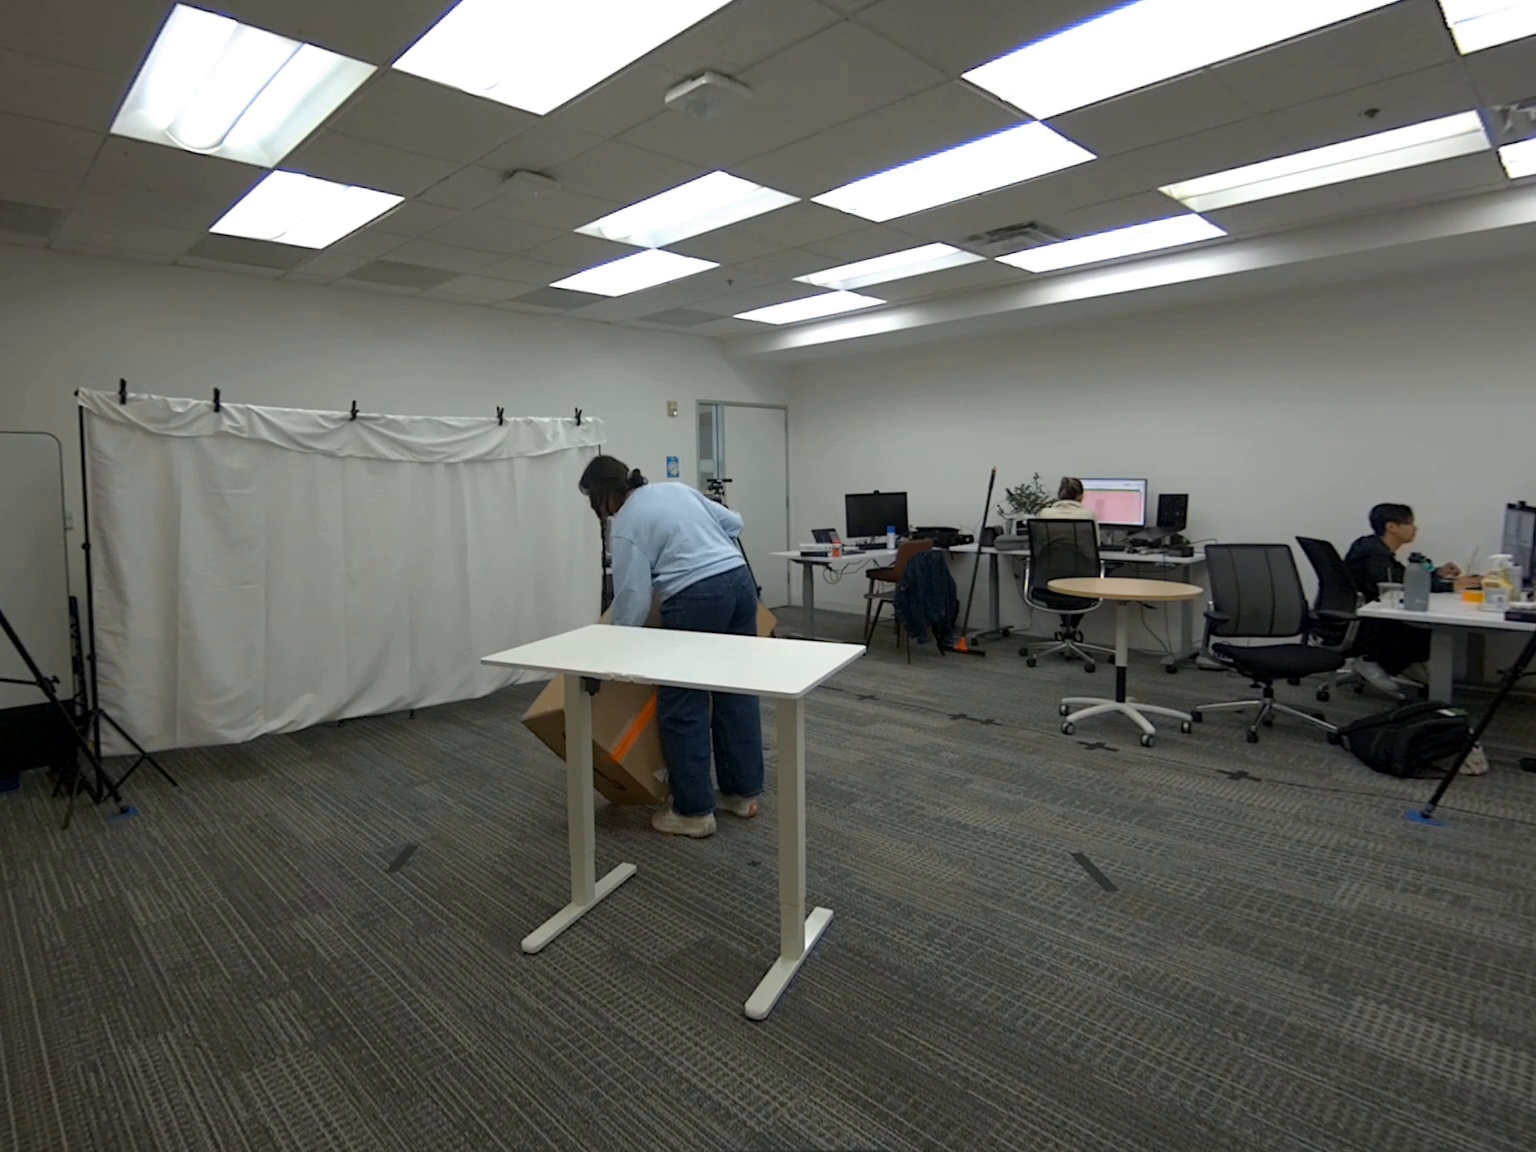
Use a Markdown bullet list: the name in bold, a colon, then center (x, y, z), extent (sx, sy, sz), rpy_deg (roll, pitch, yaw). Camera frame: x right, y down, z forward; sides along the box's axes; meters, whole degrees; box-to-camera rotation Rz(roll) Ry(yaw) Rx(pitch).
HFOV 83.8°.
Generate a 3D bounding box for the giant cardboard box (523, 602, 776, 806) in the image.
- **giant cardboard box**: center (-0.504, 0.409, 3.778), extent (0.433, 0.565, 1.031), rpy_deg (-22, 27, 50)
